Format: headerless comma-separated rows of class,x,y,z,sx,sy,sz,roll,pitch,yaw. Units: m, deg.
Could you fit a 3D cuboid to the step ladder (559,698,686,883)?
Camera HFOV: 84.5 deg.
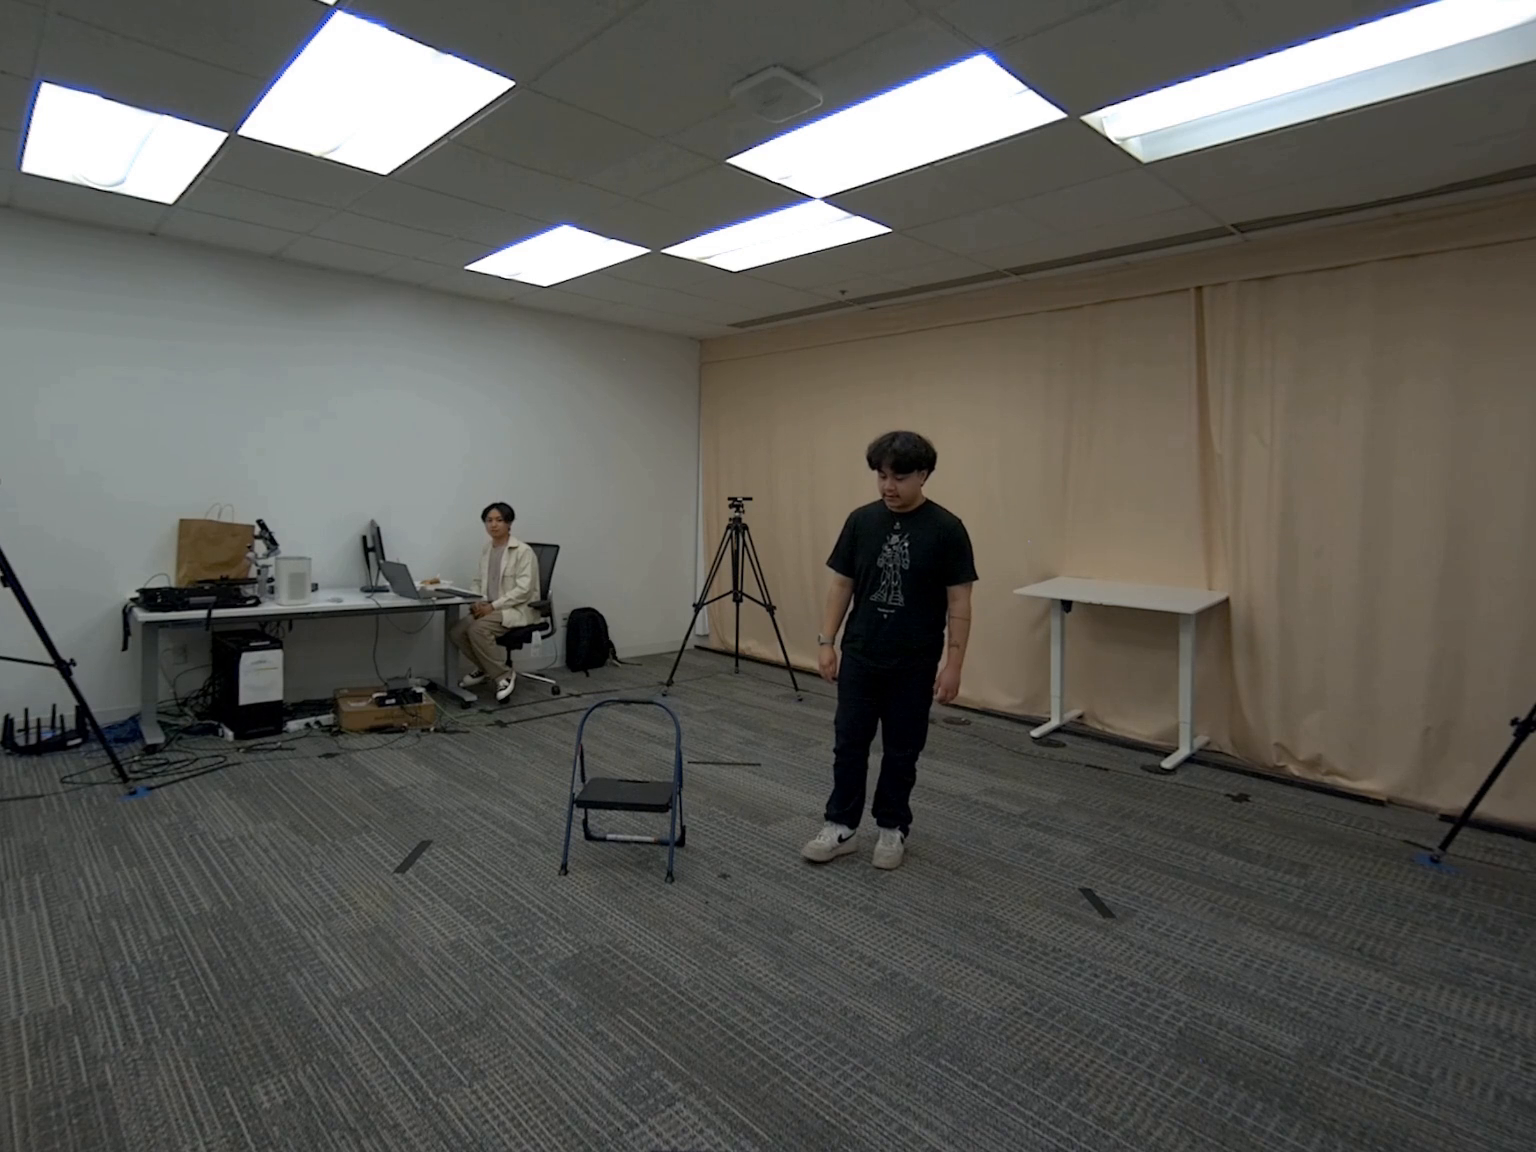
step ladder,-0.547,0.790,3.212,0.432,0.604,0.349,1,4,4
